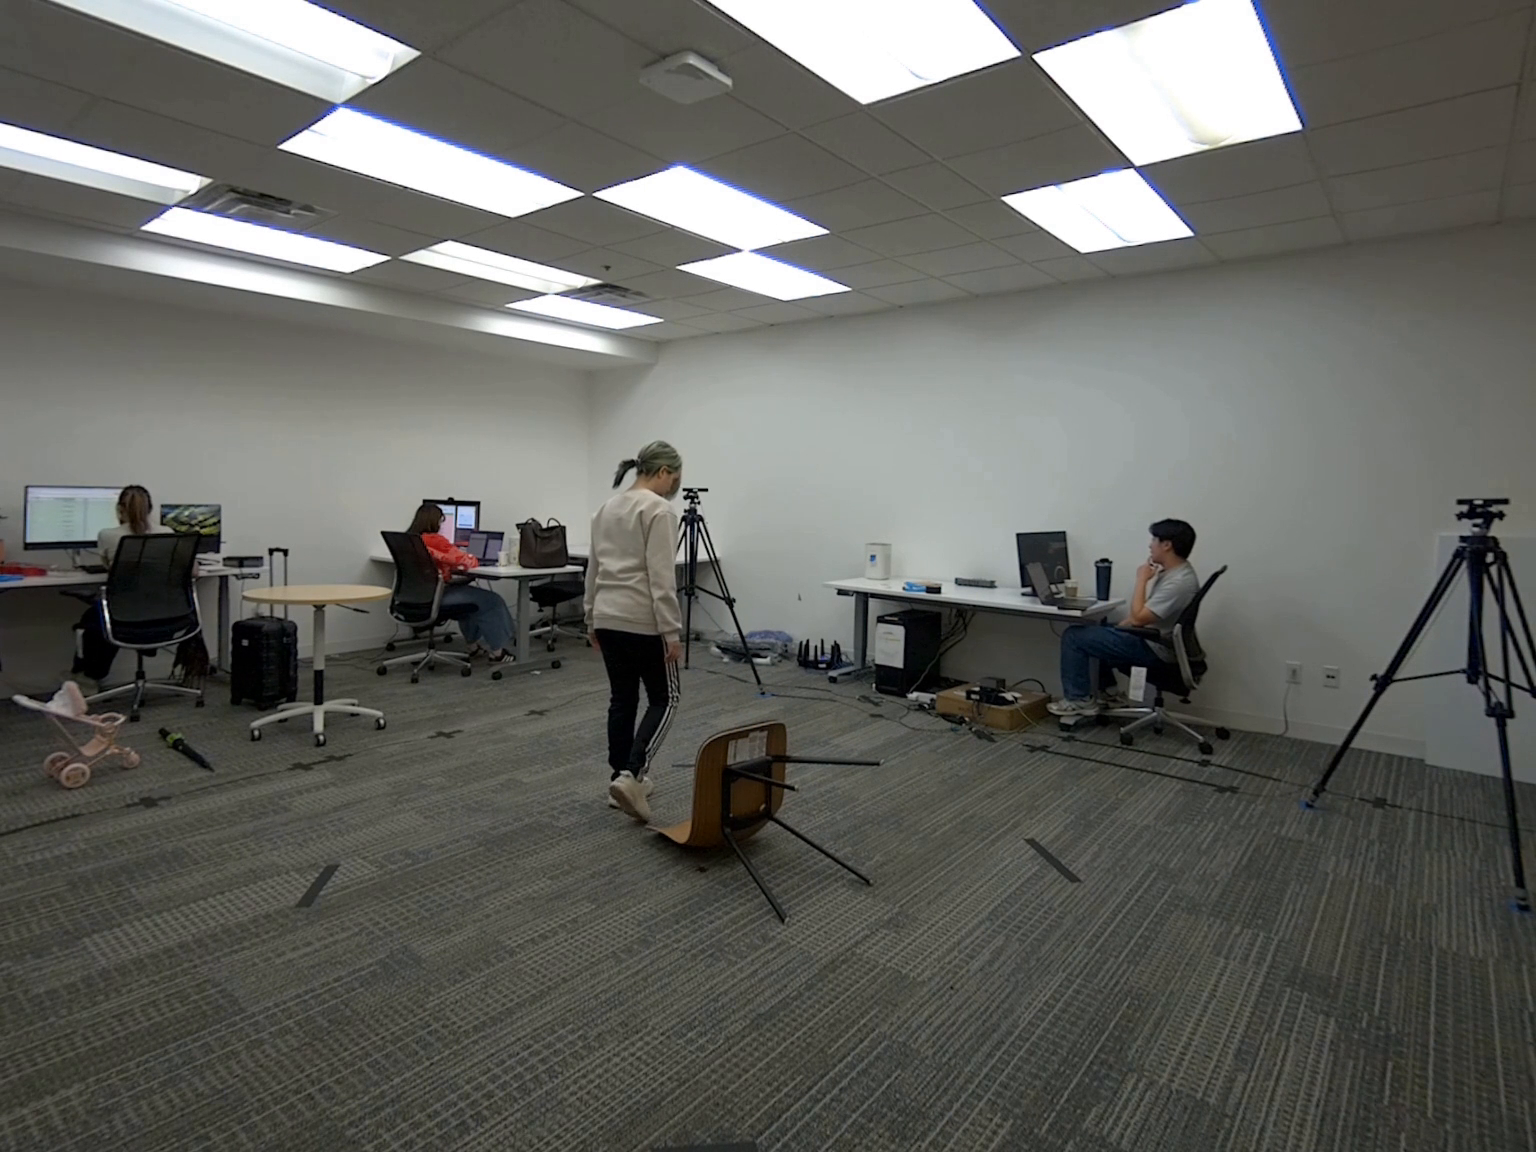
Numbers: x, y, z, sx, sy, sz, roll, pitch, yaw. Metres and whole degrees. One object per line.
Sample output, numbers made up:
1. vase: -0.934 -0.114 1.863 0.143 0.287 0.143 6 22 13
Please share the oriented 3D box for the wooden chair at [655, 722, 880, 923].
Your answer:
1. wooden chair: -0.080 0.809 3.163 0.463 0.522 0.907 -2 4 -44
